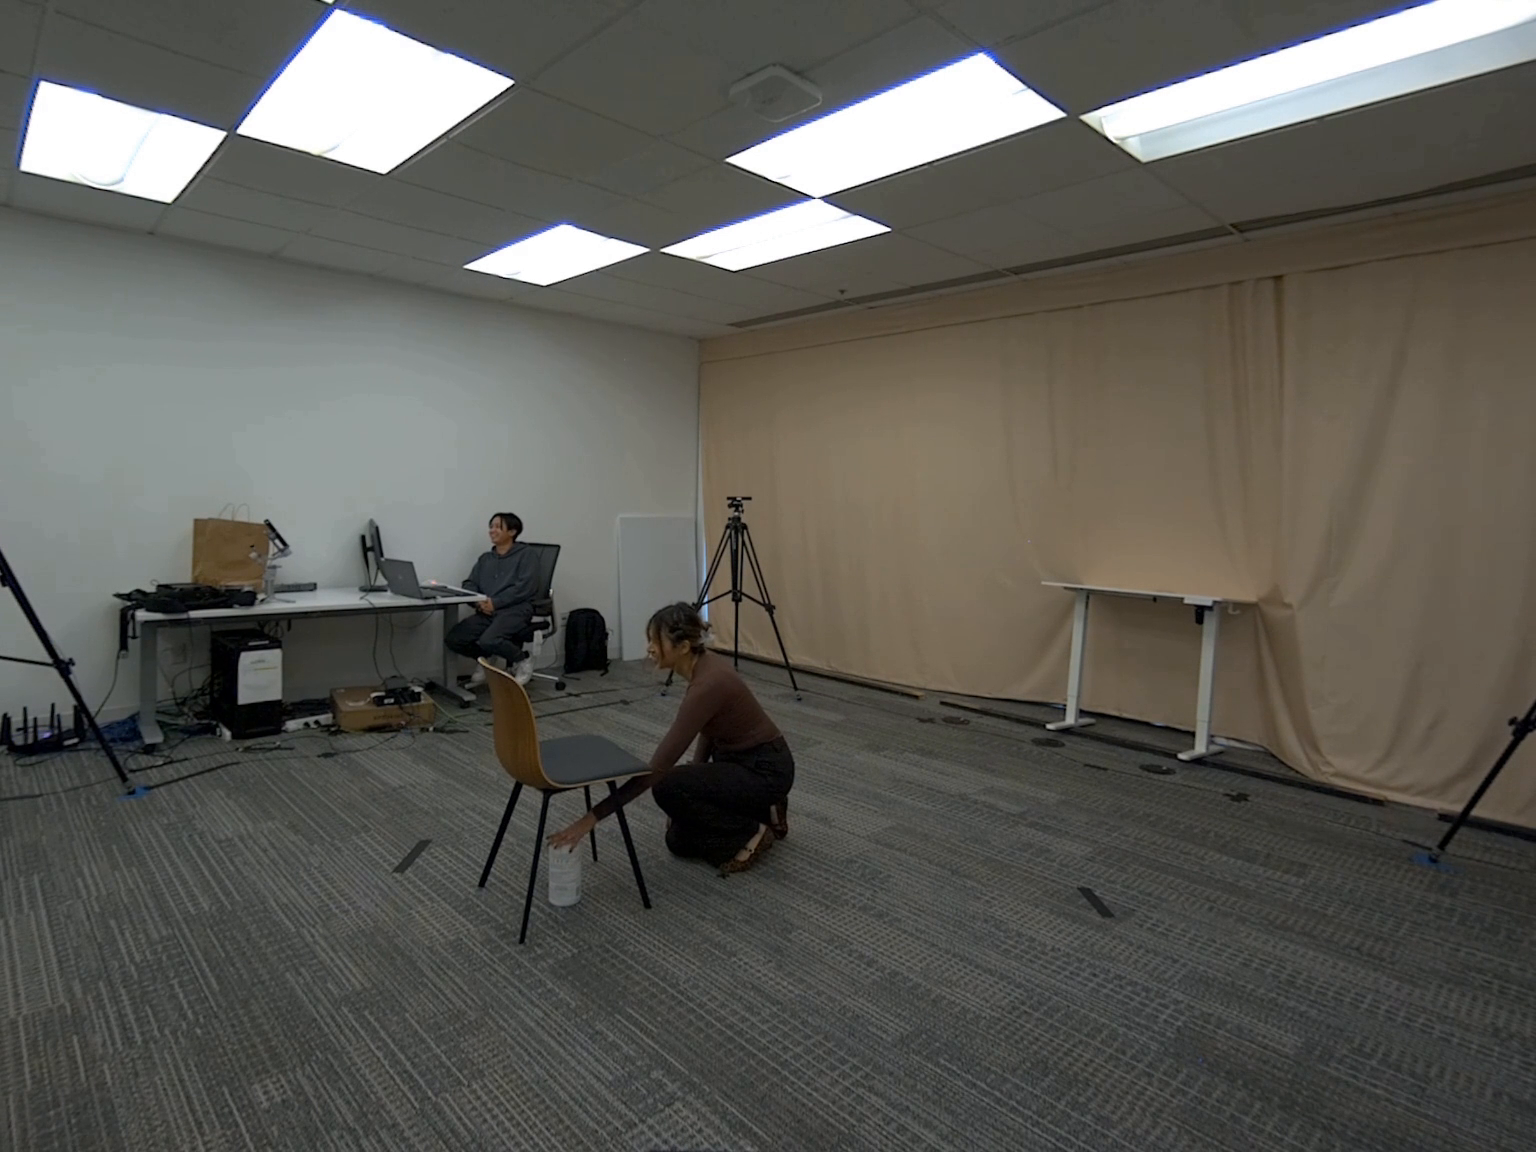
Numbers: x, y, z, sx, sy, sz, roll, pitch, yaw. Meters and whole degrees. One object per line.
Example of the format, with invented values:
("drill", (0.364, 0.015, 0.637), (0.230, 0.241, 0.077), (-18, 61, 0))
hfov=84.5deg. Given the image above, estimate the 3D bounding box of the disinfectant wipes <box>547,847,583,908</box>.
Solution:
("disinfectant wipes", (-0.709, 1.020, 2.886), (0.118, 0.217, 0.118), (1, 5, -1))
